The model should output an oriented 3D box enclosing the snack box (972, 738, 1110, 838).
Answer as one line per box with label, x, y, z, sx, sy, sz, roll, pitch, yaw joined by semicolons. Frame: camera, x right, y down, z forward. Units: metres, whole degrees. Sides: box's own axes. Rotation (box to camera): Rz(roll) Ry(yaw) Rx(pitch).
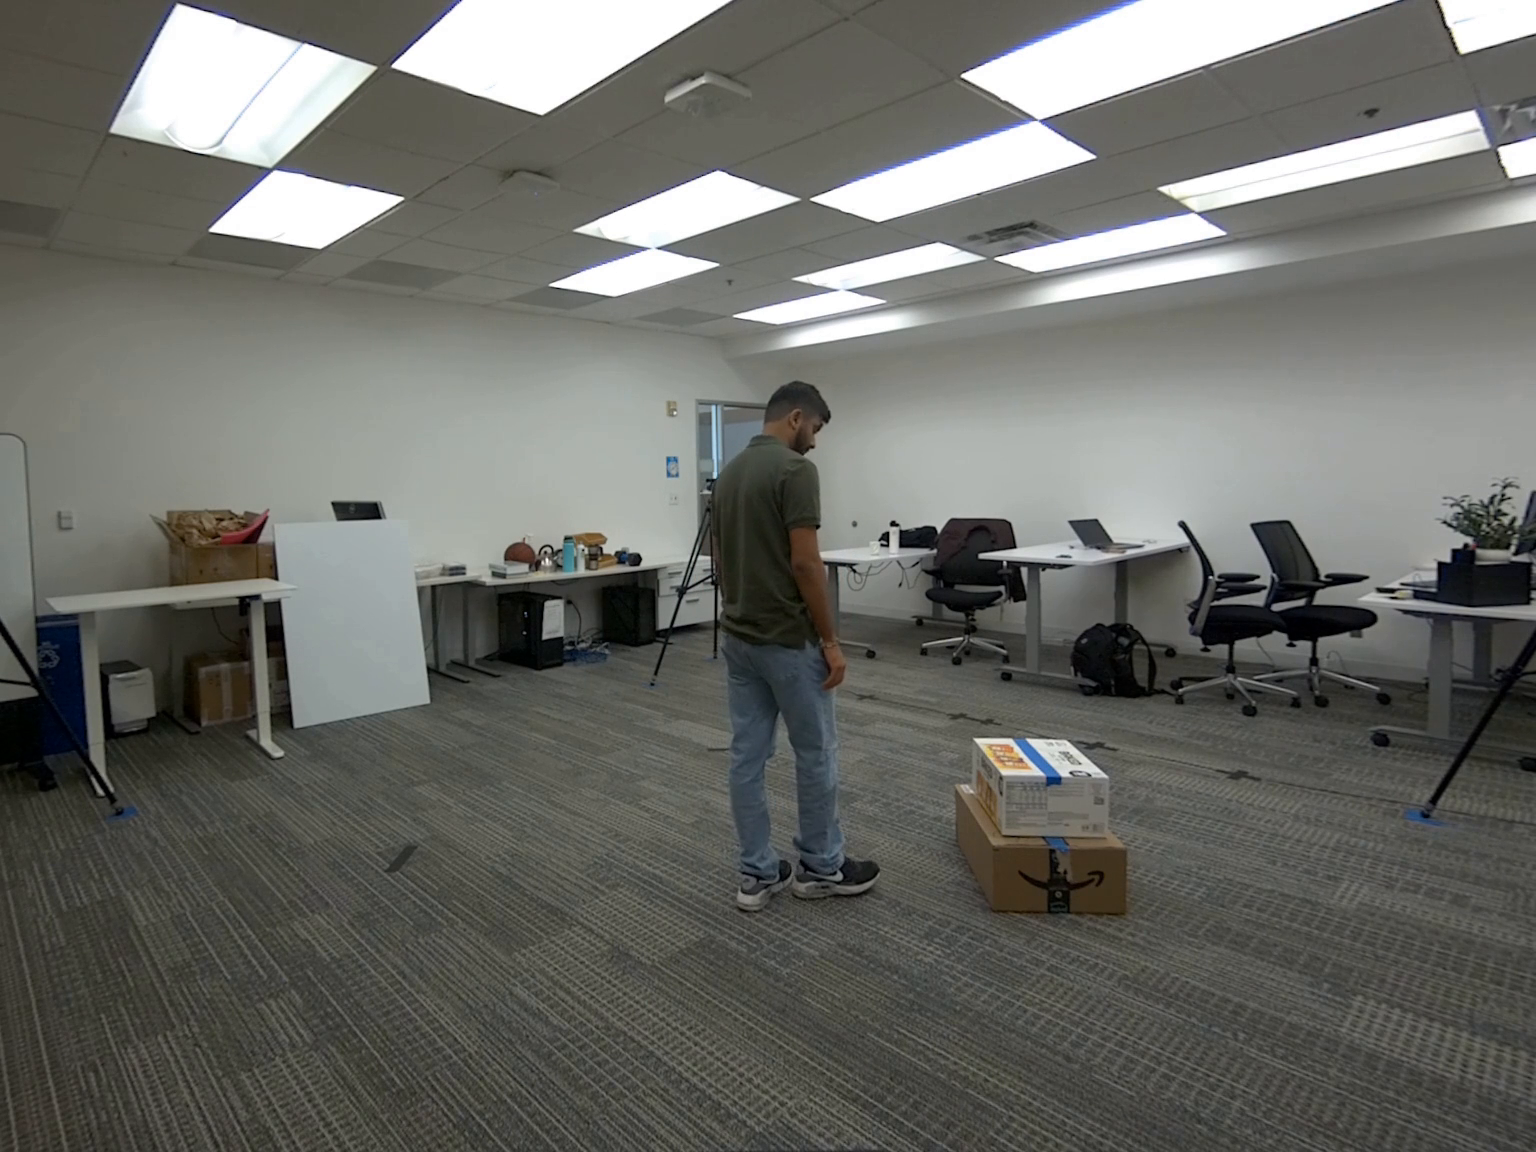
snack box;0.934;0.725;2.967;0.341;0.205;0.406;0;6;1
